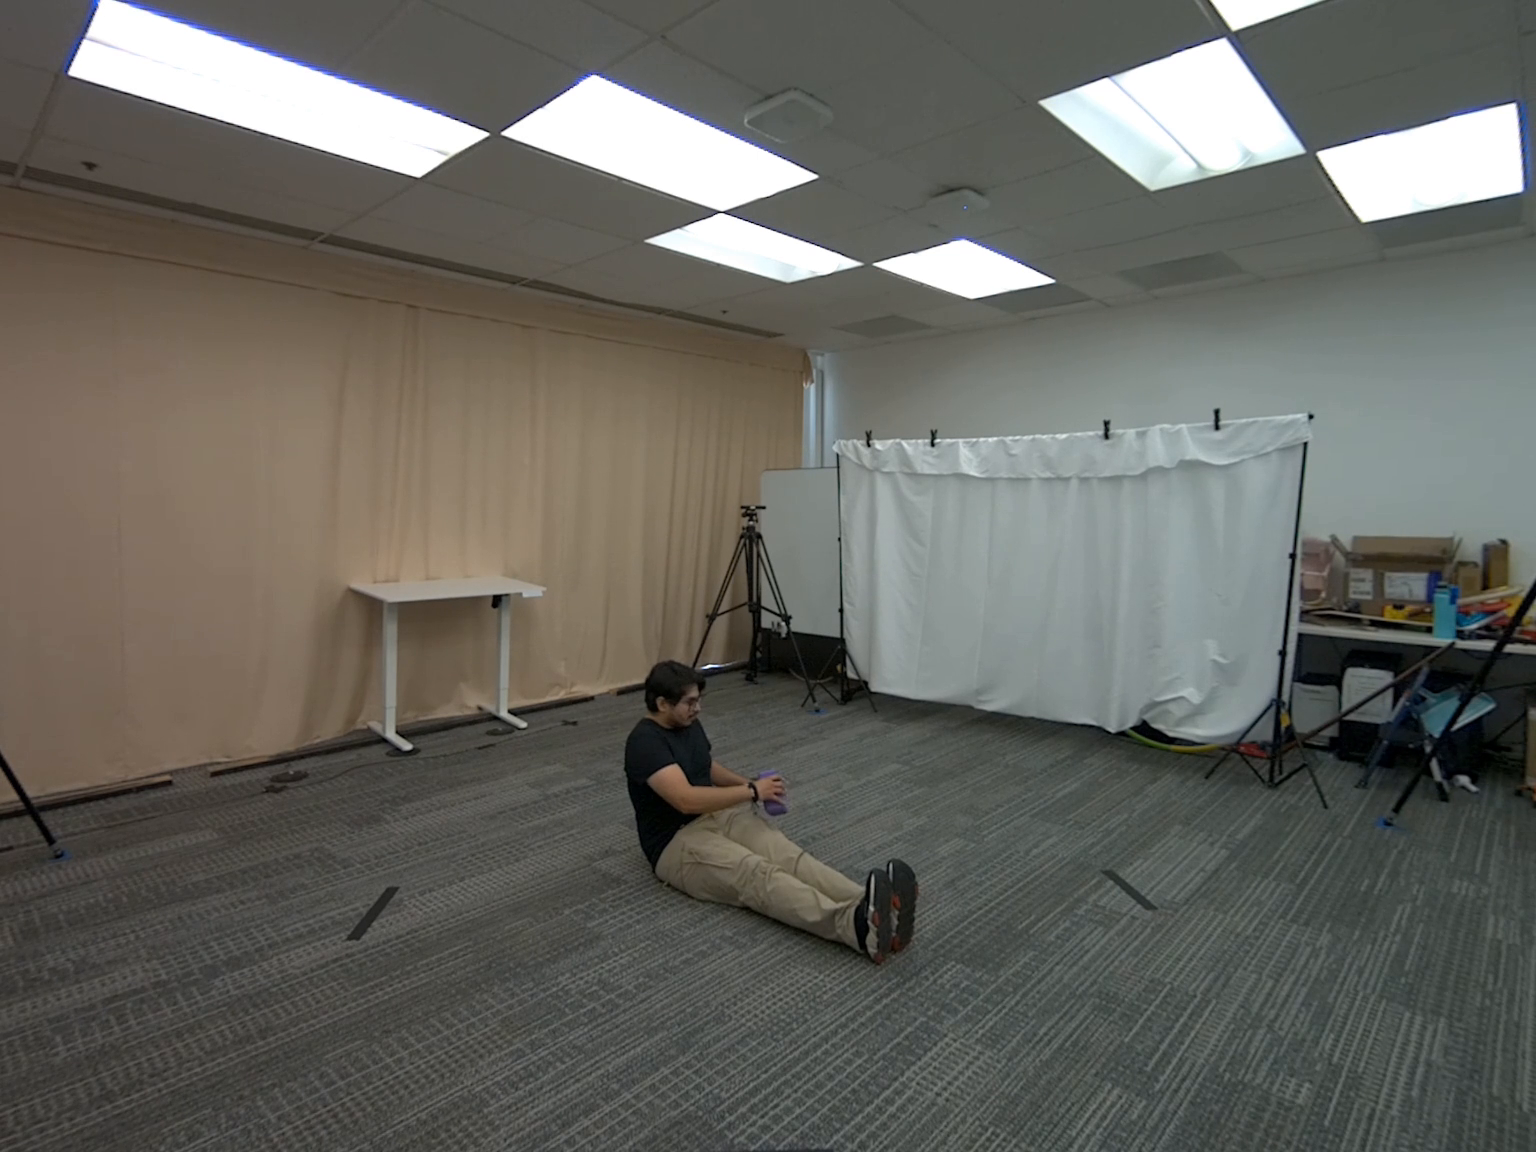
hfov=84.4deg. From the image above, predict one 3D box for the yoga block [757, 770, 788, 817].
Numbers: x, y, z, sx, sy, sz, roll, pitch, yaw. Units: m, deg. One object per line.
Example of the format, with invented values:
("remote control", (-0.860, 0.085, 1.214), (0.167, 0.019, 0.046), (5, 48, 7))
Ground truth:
("yoga block", (0.011, 0.846, 3.244), (0.077, 0.151, 0.225), (-7, -20, 4))
